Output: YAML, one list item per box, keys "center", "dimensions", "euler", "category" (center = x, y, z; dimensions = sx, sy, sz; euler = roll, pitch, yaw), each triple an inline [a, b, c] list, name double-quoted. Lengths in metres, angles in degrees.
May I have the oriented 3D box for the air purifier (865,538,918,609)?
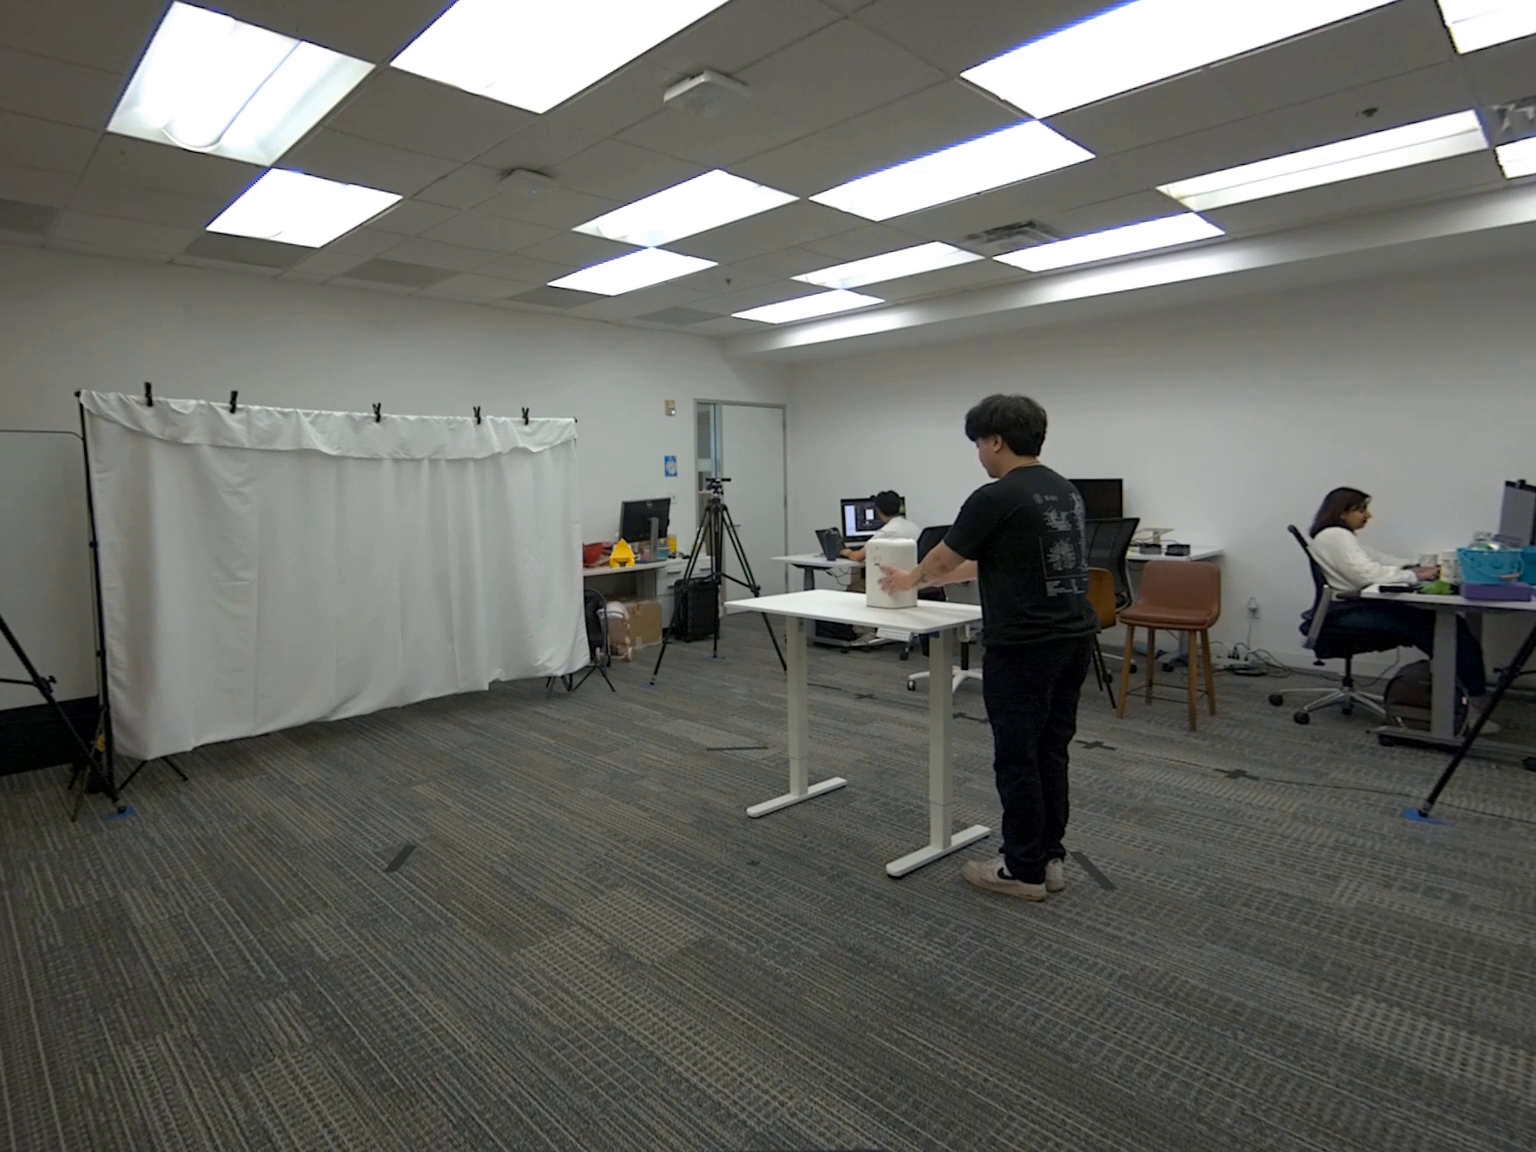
- center: [0.496, -0.016, 3.380]
  dimensions: [0.167, 0.265, 0.176]
  euler: [-4, 4, -43]
  category: "air purifier"
